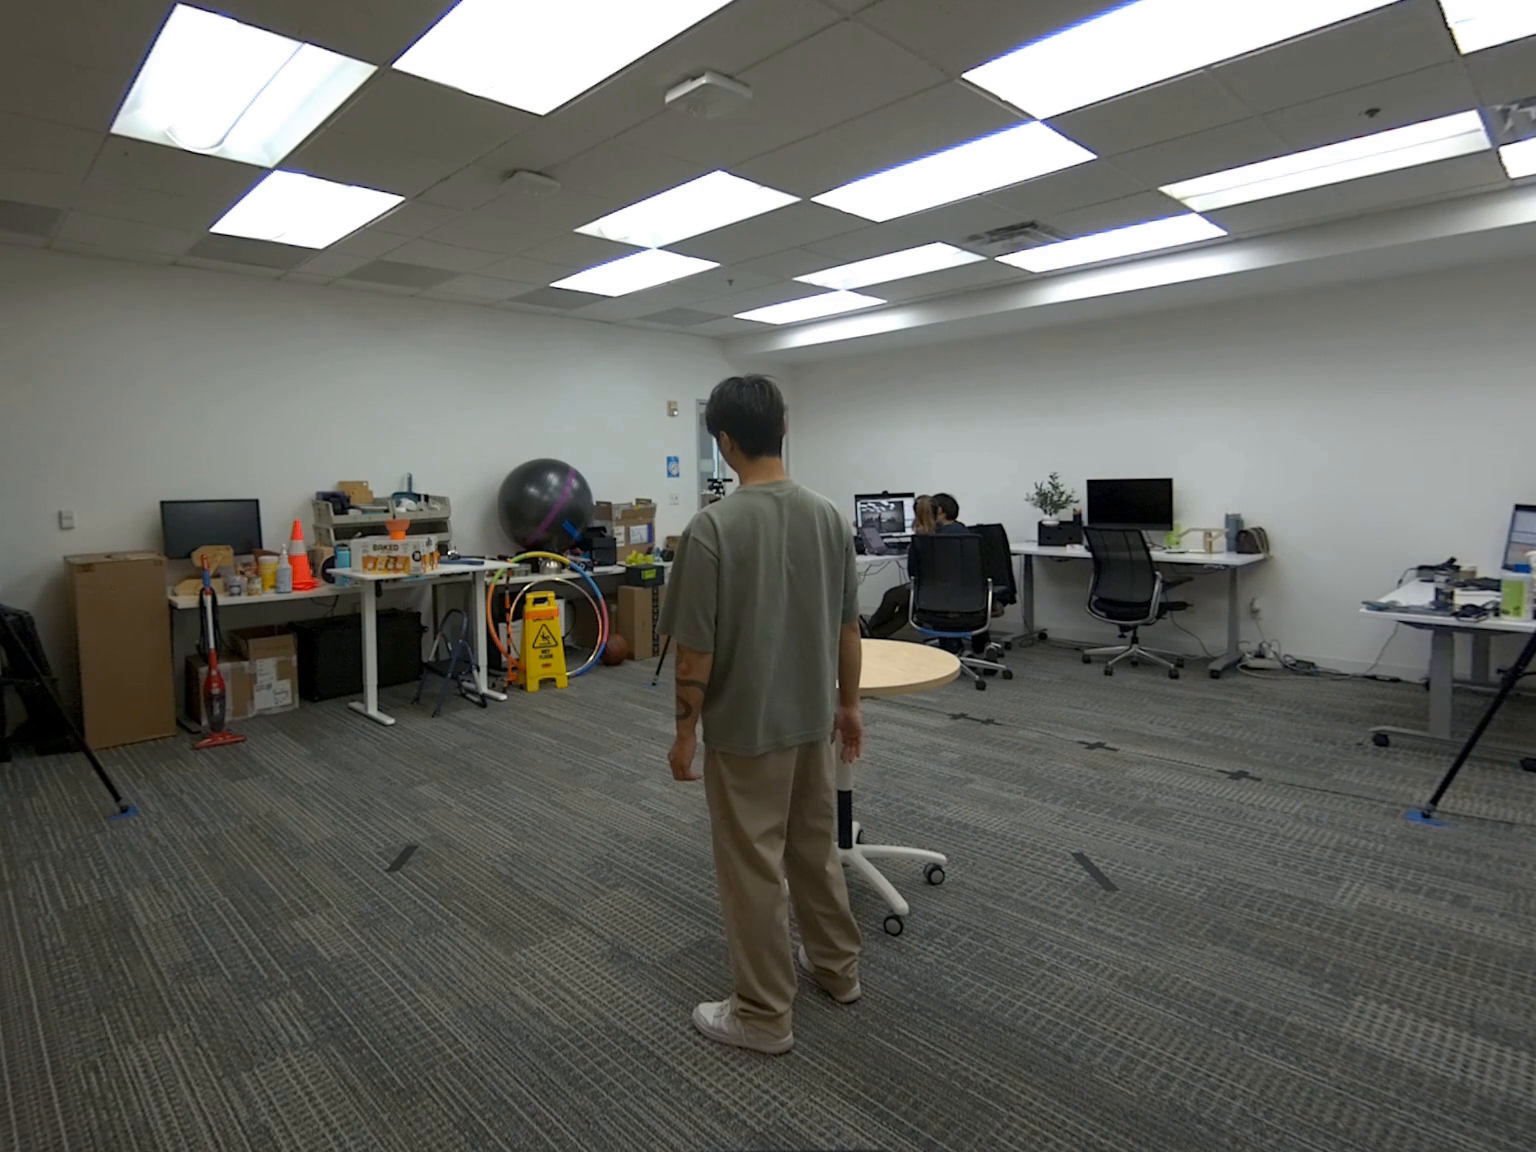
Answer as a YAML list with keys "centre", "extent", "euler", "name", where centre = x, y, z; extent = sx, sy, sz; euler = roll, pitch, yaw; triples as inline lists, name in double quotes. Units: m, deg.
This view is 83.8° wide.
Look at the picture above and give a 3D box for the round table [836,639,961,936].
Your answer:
- centre: [0.272, 0.678, 2.898]
  extent: [0.763, 0.791, 0.768]
  euler: [-1, 5, -2]
  name: "round table"
